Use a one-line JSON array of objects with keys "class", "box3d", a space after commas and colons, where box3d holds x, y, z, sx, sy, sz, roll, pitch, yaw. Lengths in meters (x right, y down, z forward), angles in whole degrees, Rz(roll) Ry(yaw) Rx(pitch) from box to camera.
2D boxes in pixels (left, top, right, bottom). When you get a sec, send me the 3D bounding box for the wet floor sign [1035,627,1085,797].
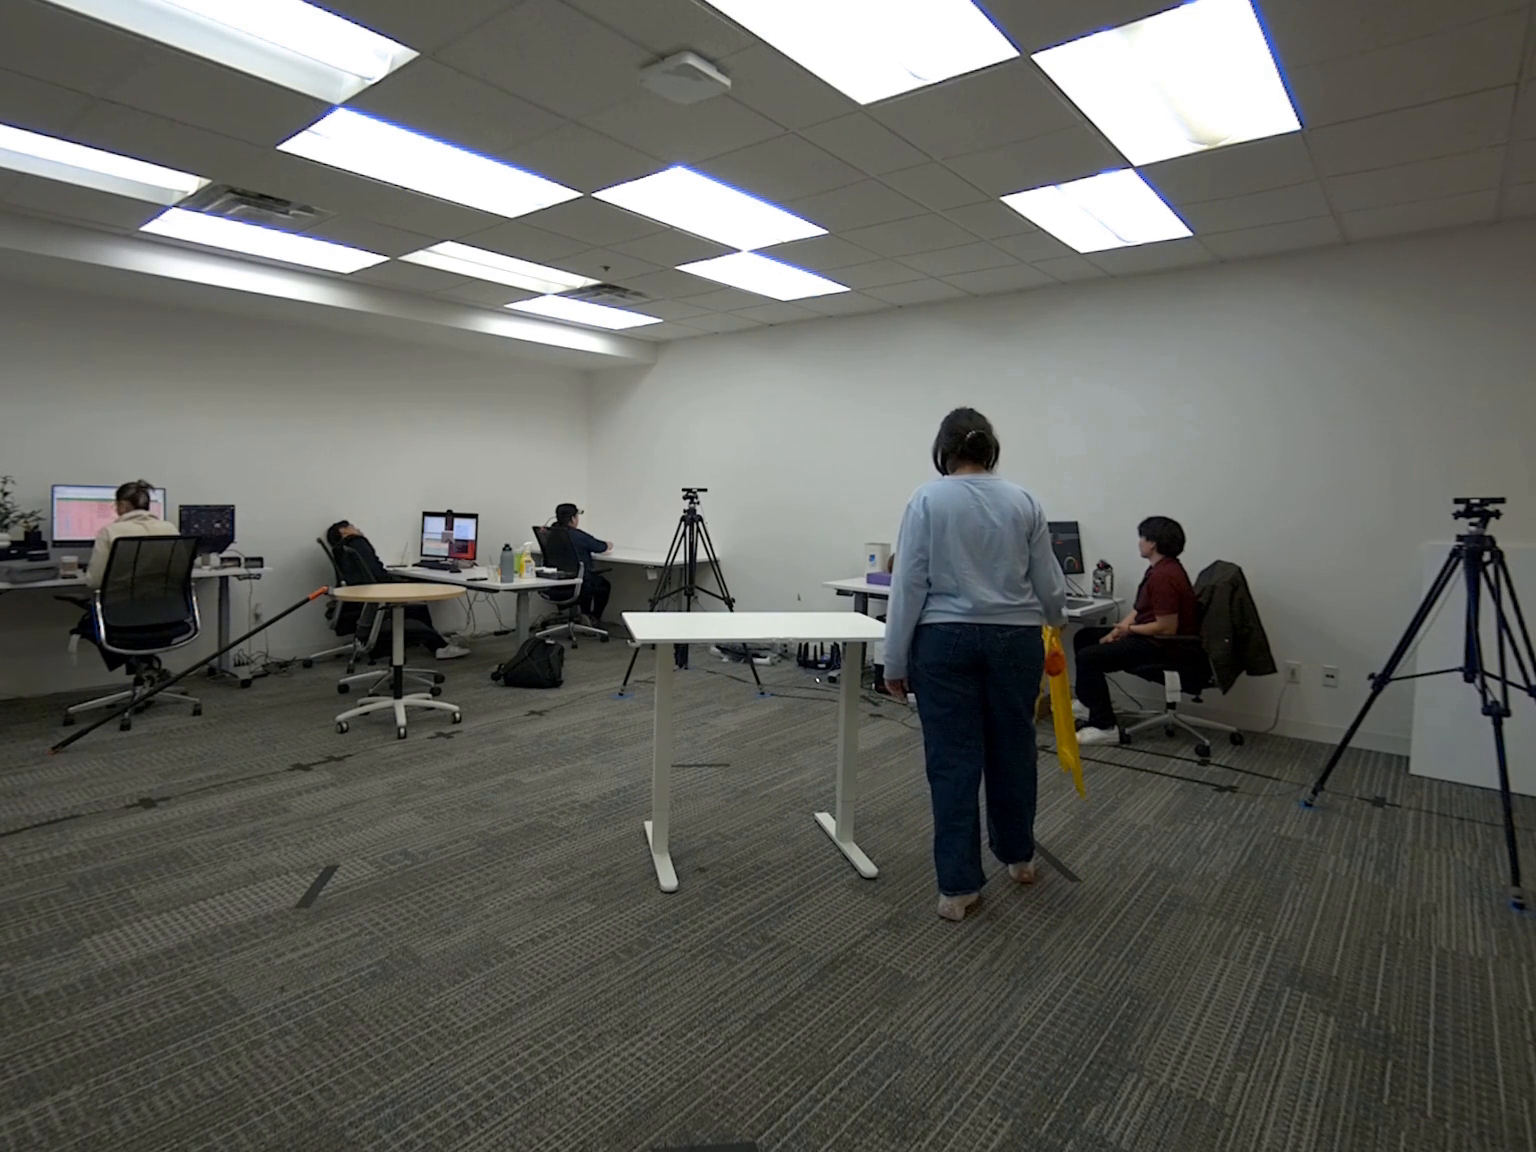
[{"class": "wet floor sign", "box3d": [1.027, 0.462, 3.194, 0.291, 0.638, 0.284, -2, 12, 3]}]
